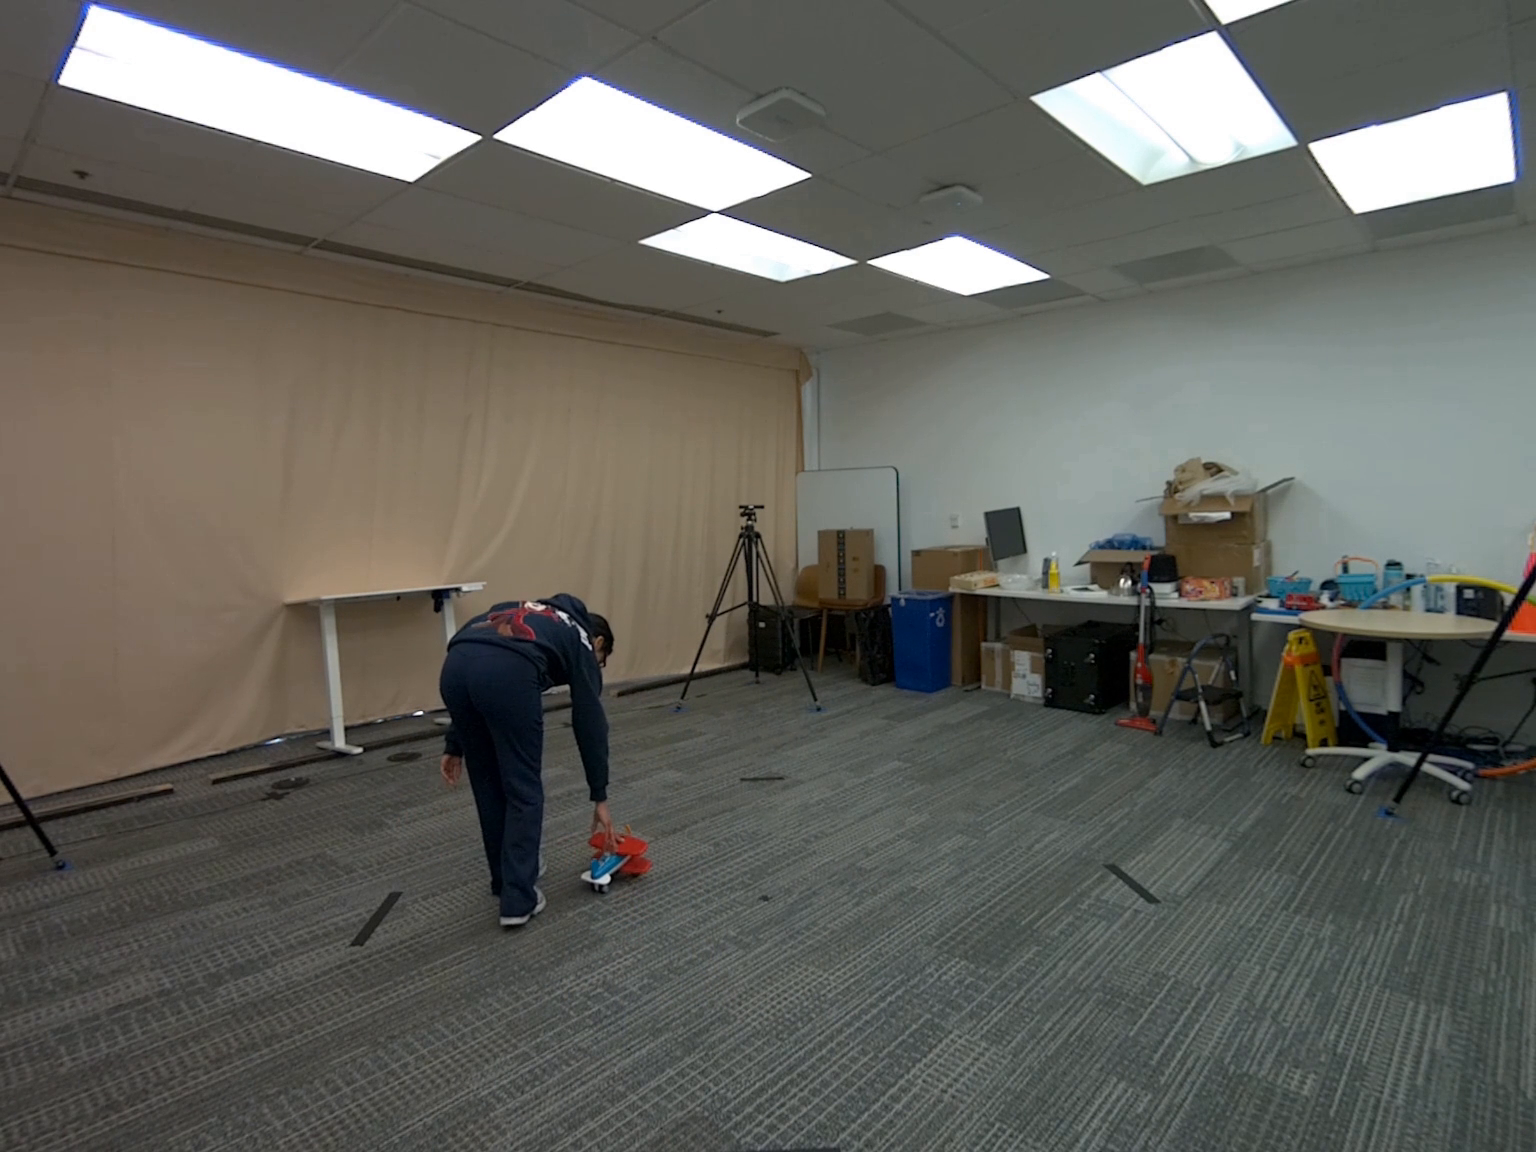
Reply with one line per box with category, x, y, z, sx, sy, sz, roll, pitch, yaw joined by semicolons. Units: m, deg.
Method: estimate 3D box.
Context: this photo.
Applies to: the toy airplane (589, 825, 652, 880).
toy airplane;-0.557;1.069;3.129;0.251;0.156;0.260;-3;5;-2
